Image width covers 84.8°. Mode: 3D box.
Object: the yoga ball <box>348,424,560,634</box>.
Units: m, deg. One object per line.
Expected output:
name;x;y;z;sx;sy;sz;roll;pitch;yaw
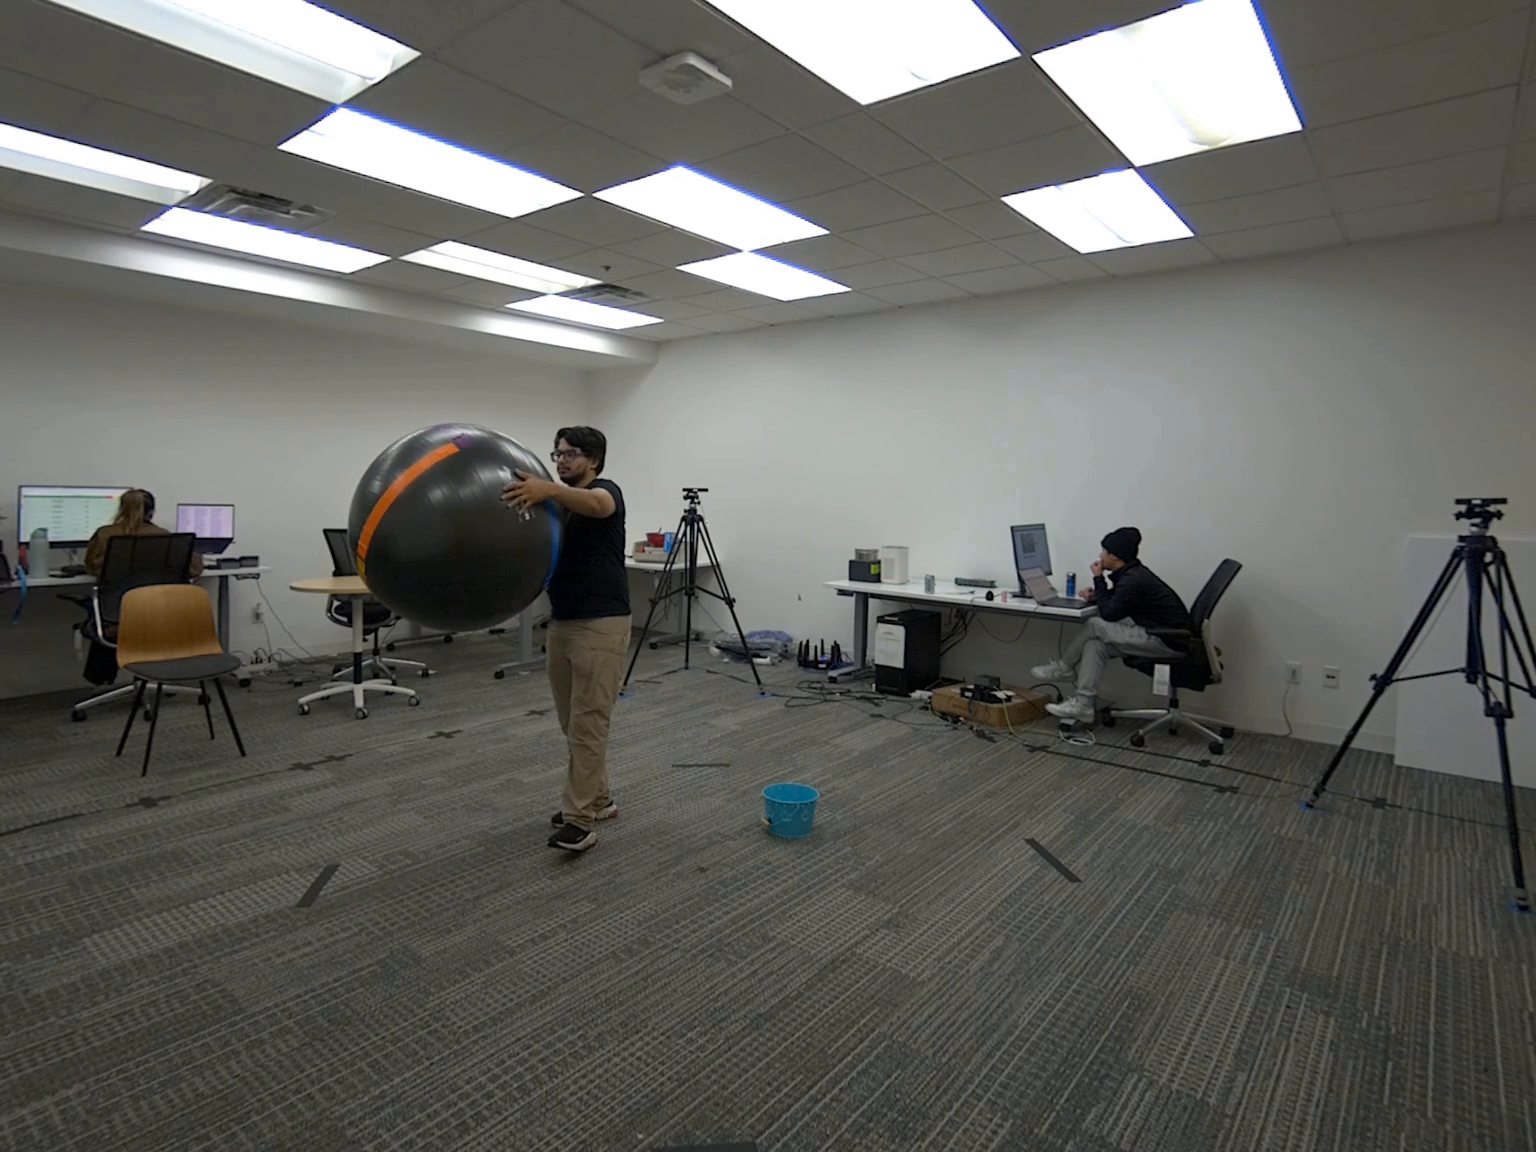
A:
yoga ball;-1.140;-0.170;3.110;0.757;0.755;0.762;1;4;-2
